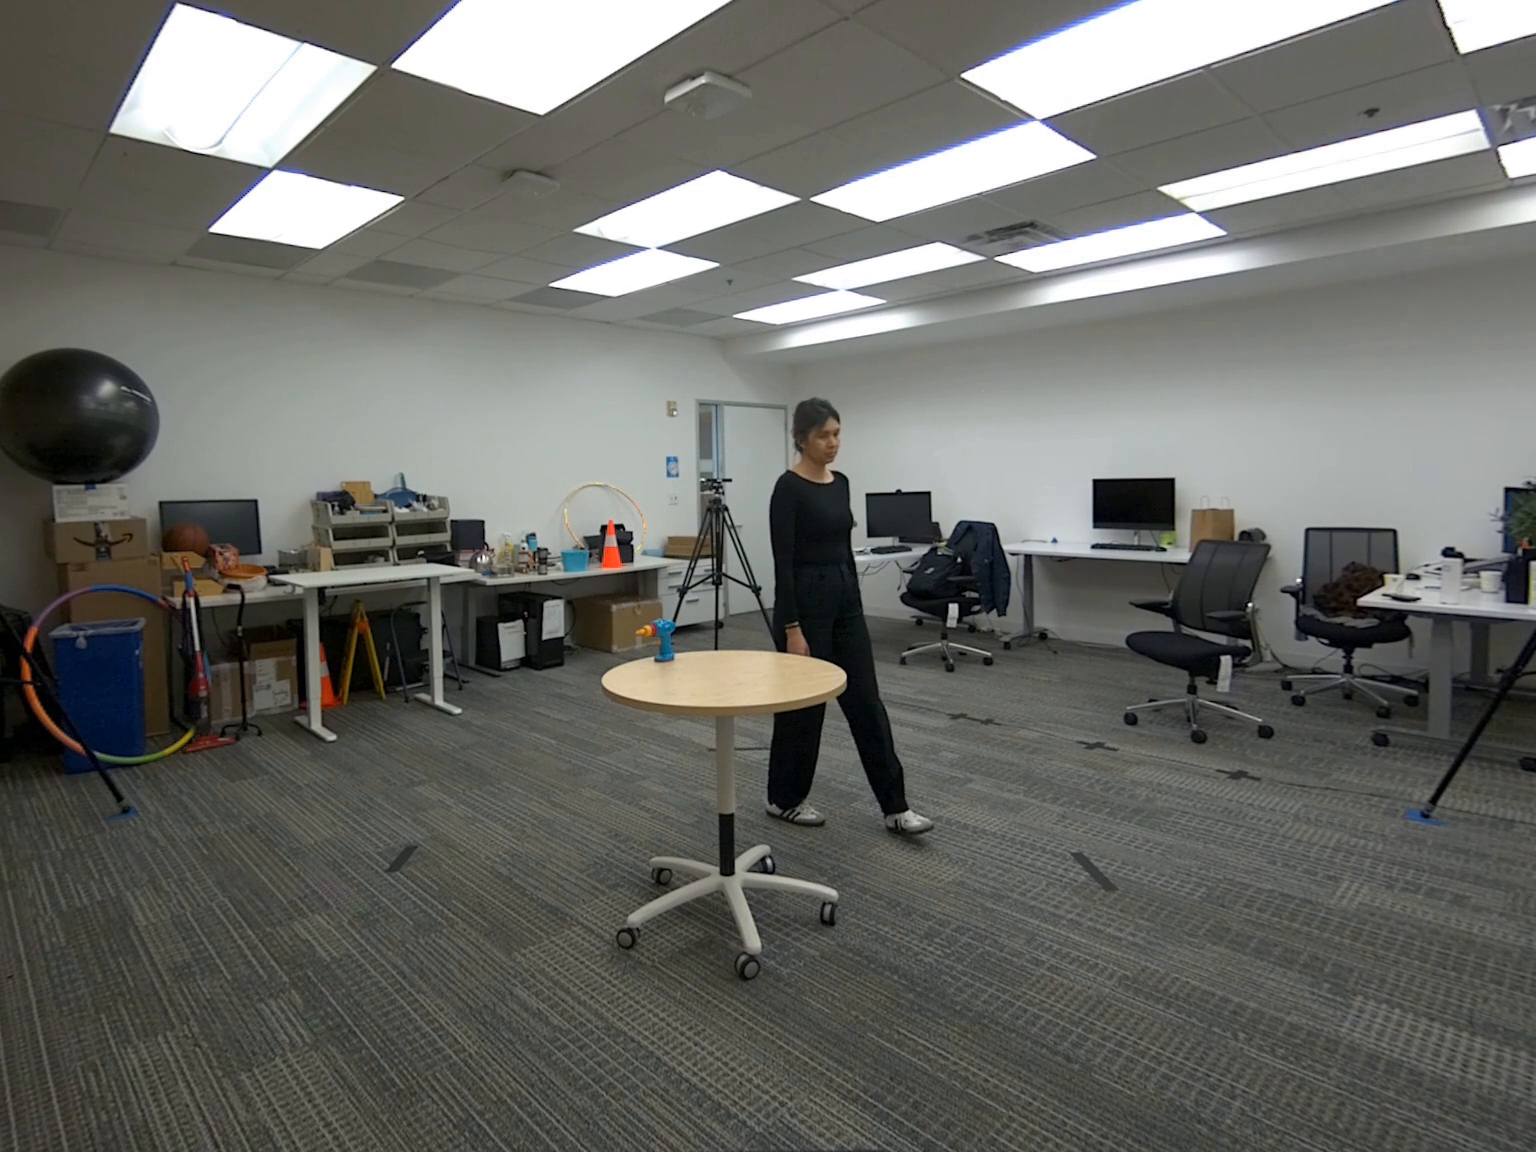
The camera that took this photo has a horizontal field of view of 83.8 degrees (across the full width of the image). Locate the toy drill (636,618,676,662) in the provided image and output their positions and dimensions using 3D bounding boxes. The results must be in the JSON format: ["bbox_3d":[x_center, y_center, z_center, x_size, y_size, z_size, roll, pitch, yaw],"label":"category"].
[{"bbox_3d":[-0.376,0.219,2.888,0.063,0.145,0.165,3,5,40],"label":"toy drill"}]
